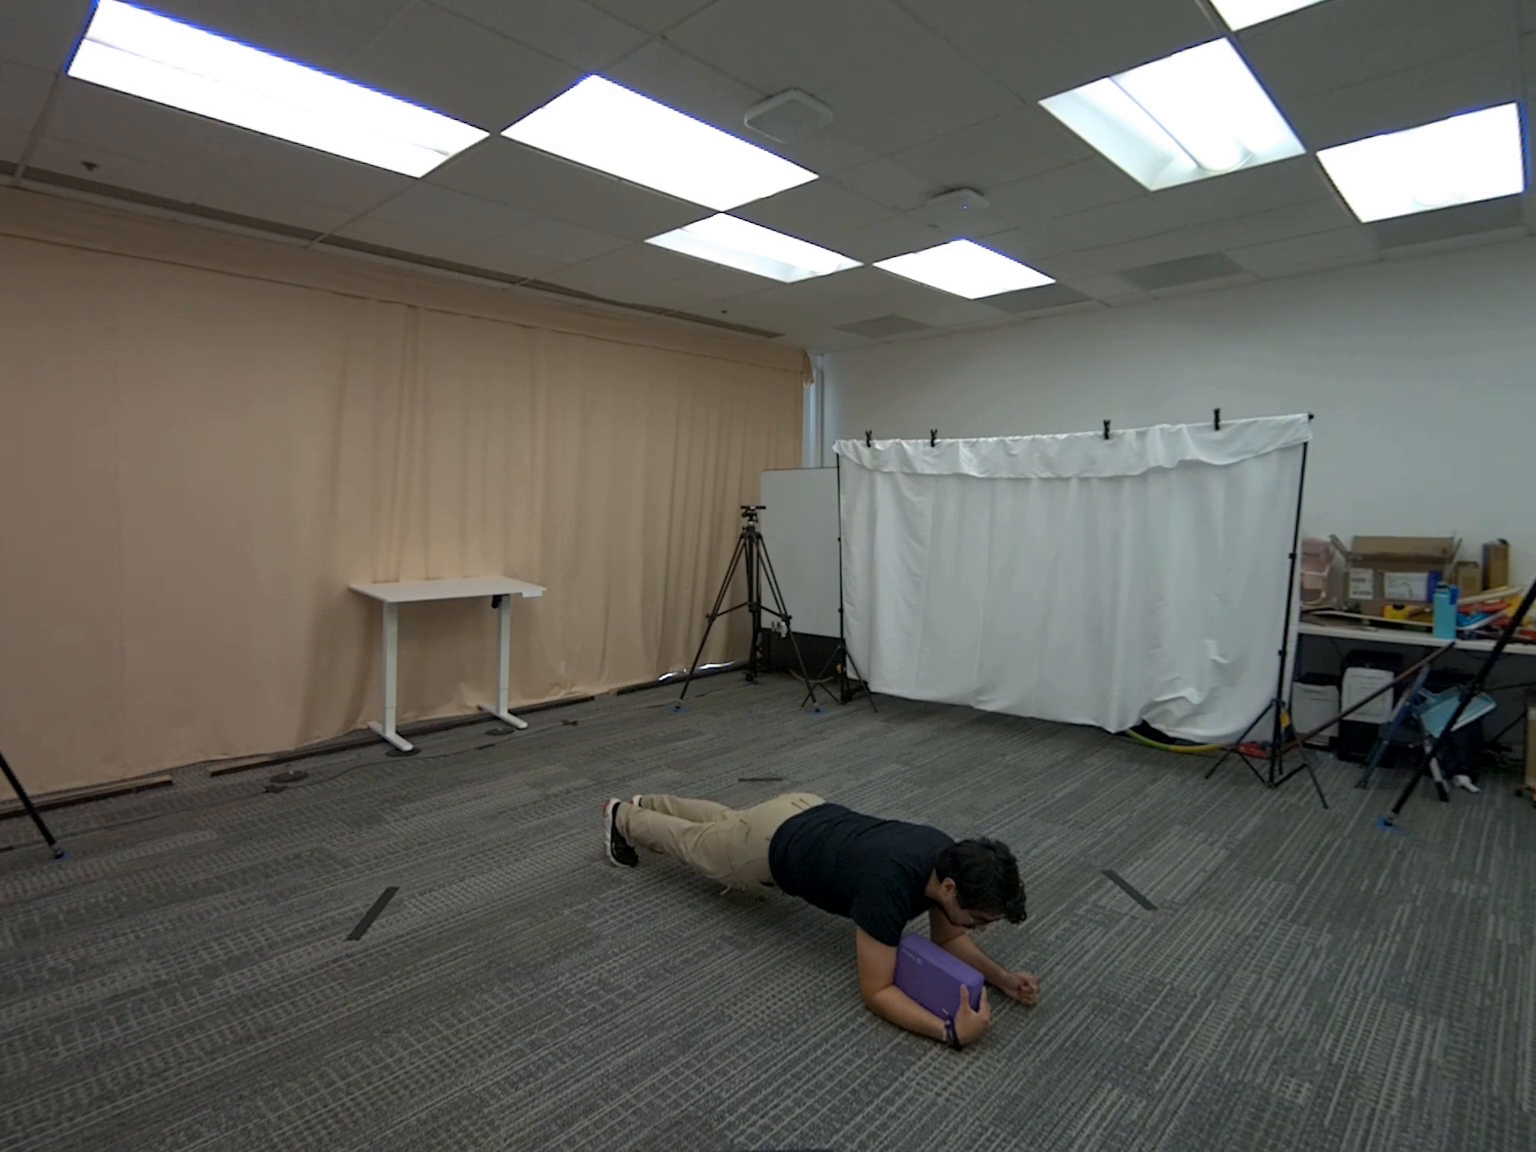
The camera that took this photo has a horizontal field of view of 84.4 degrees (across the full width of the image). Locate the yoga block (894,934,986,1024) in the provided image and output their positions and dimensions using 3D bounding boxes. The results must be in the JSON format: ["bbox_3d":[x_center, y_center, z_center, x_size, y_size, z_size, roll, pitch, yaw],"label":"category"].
[{"bbox_3d":[0.455,1.091,2.281,0.074,0.148,0.238,-3,14,-42],"label":"yoga block"}]
